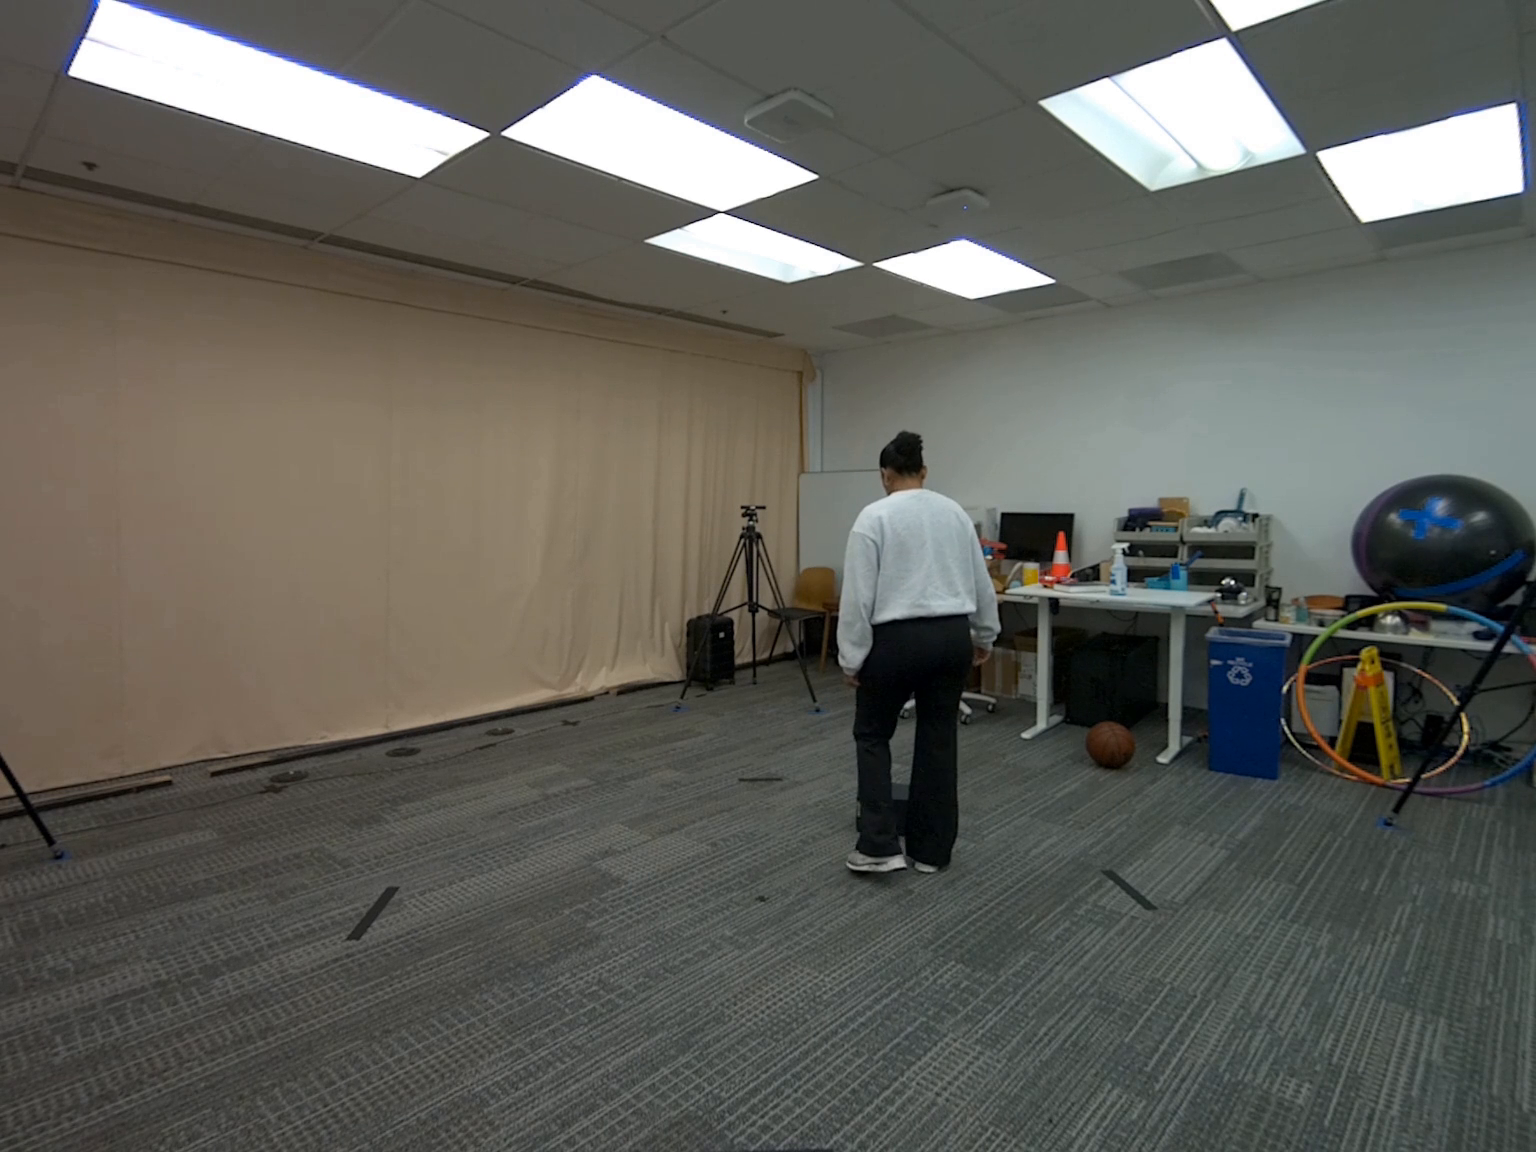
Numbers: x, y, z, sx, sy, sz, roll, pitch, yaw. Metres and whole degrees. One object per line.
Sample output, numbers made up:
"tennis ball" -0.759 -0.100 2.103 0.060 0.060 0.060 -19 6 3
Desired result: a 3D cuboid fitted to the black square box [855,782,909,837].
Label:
"black square box" 0.508 1.003 3.661 0.230 0.155 0.215 1 4 10
